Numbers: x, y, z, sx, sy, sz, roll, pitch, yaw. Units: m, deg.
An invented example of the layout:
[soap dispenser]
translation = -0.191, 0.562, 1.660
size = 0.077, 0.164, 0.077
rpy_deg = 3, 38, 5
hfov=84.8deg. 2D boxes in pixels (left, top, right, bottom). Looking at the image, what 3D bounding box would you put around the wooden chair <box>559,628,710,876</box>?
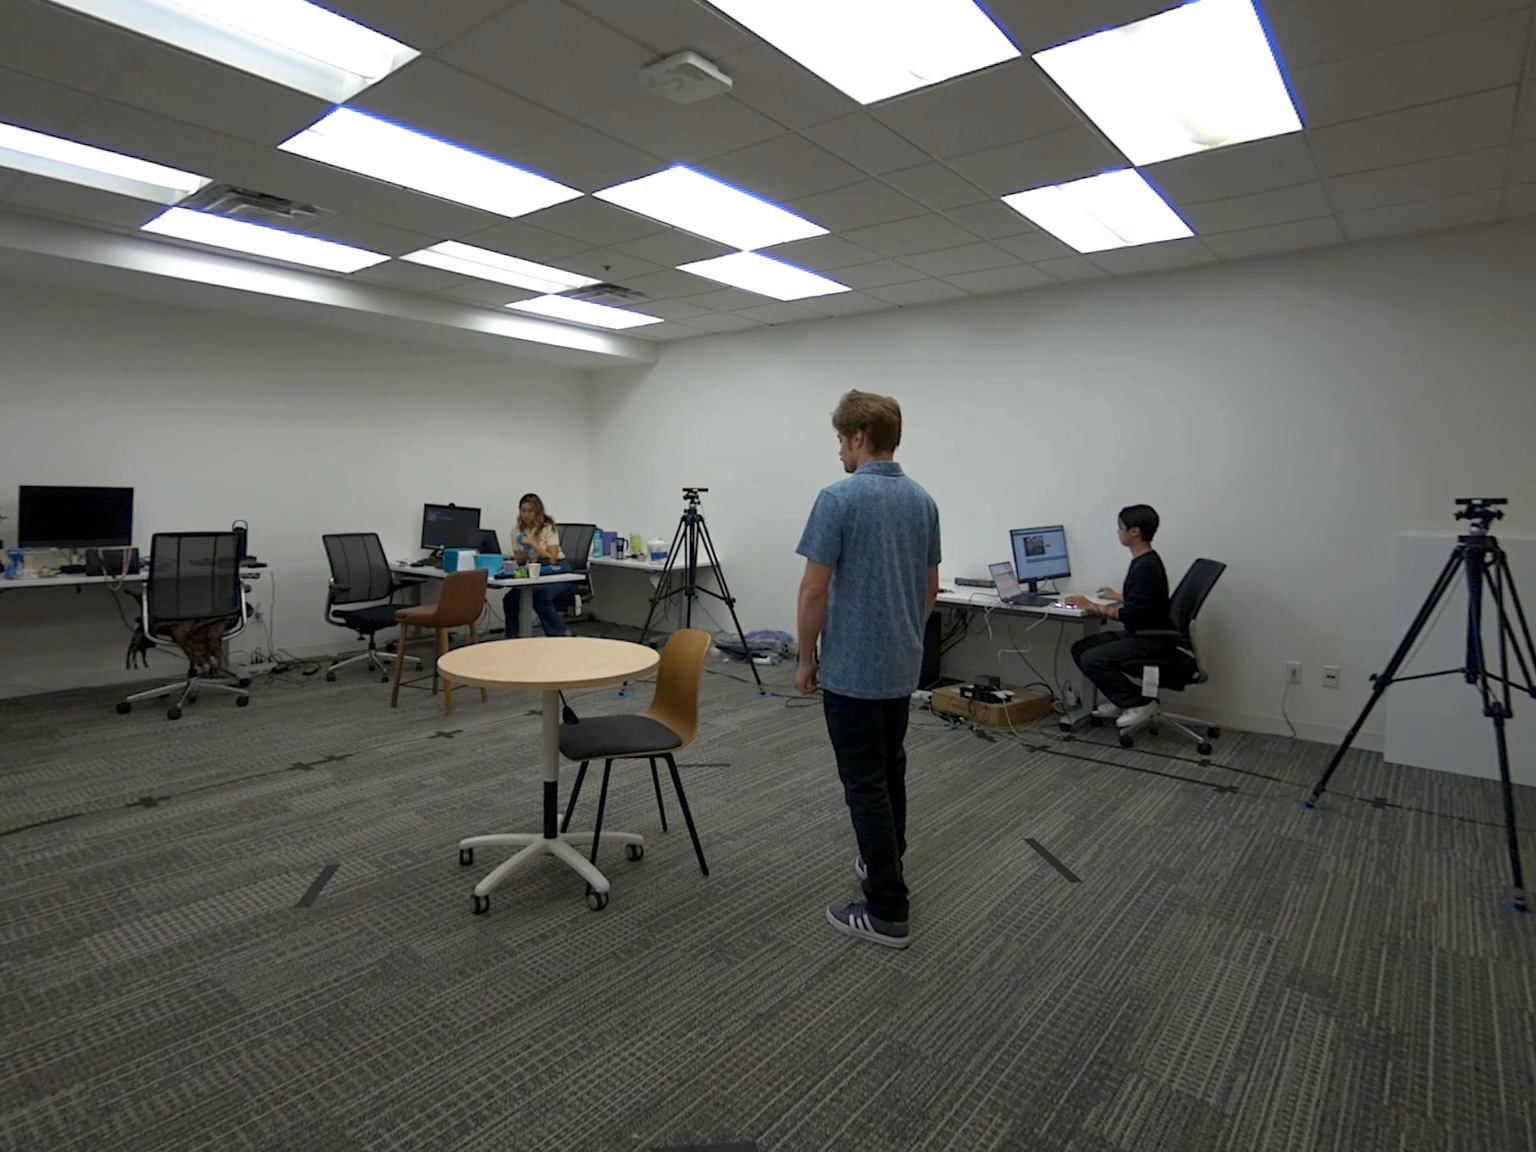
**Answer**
[wooden chair]
translation = -0.520, 0.633, 3.147
size = 0.510, 0.876, 0.491
rpy_deg = 4, 2, -26
